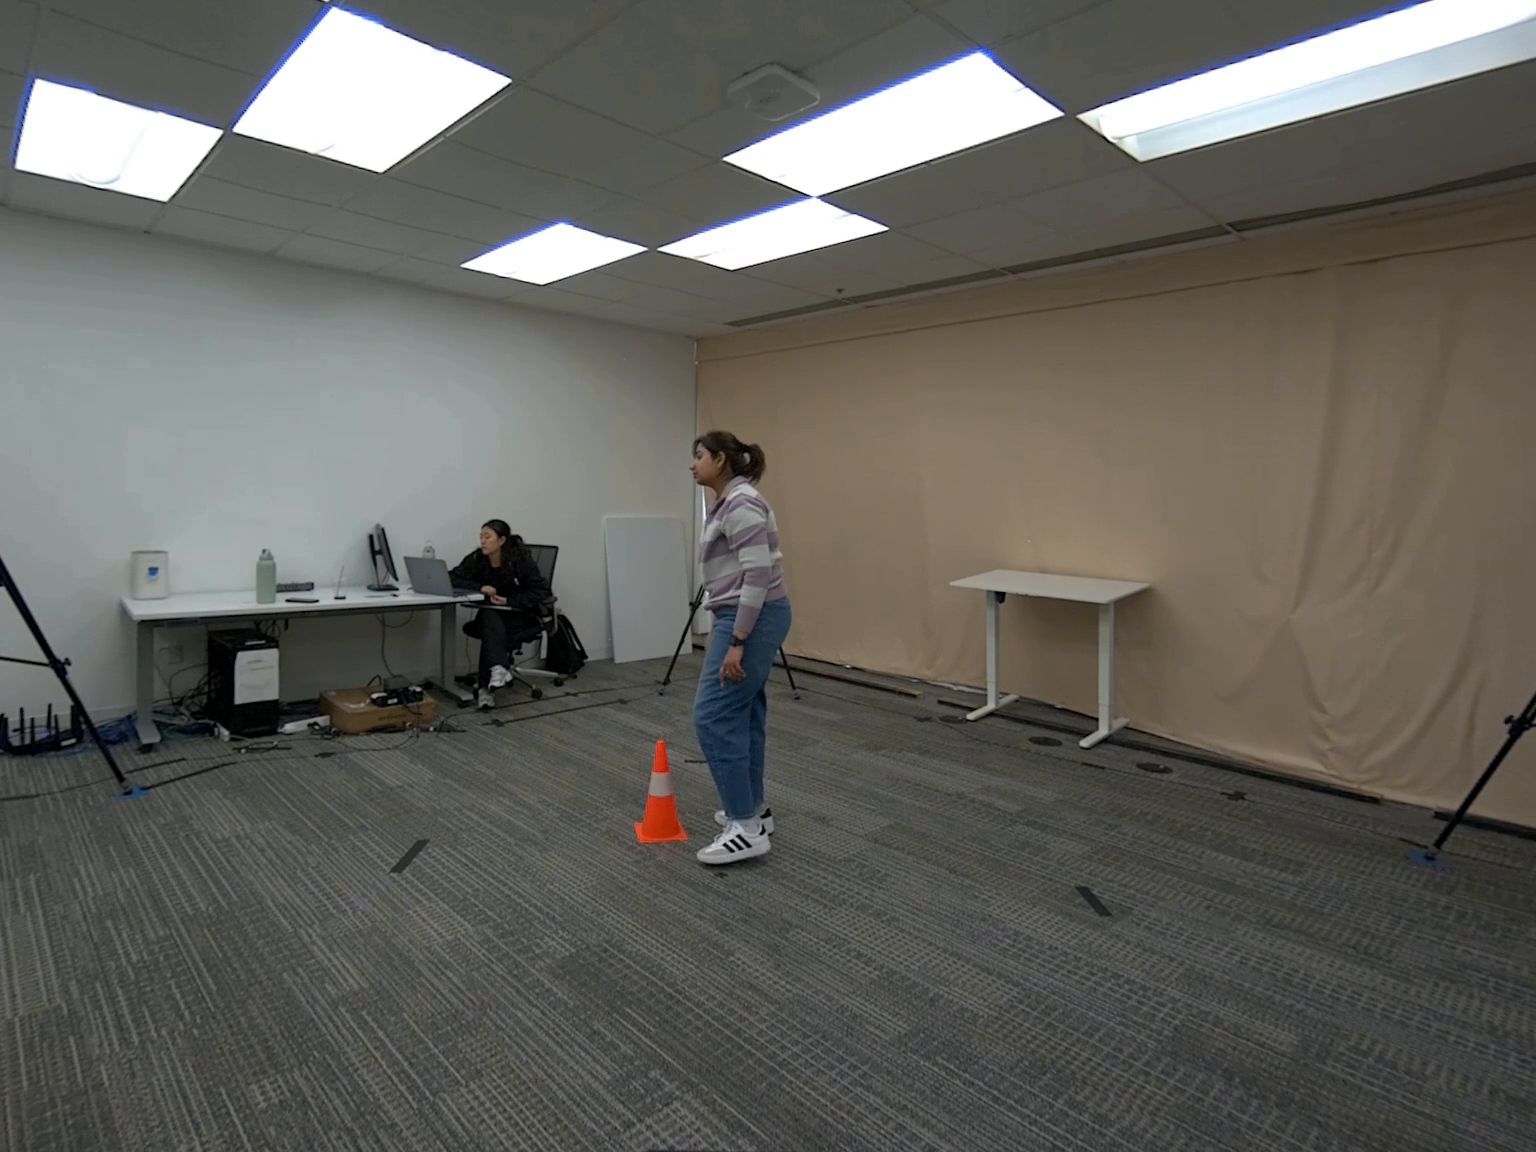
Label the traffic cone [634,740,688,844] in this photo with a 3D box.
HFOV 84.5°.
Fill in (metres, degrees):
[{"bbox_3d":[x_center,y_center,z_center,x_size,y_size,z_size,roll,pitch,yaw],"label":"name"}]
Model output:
[{"bbox_3d":[-0.443,0.873,3.483,0.201,0.383,0.207,1,2,-13],"label":"traffic cone"}]
